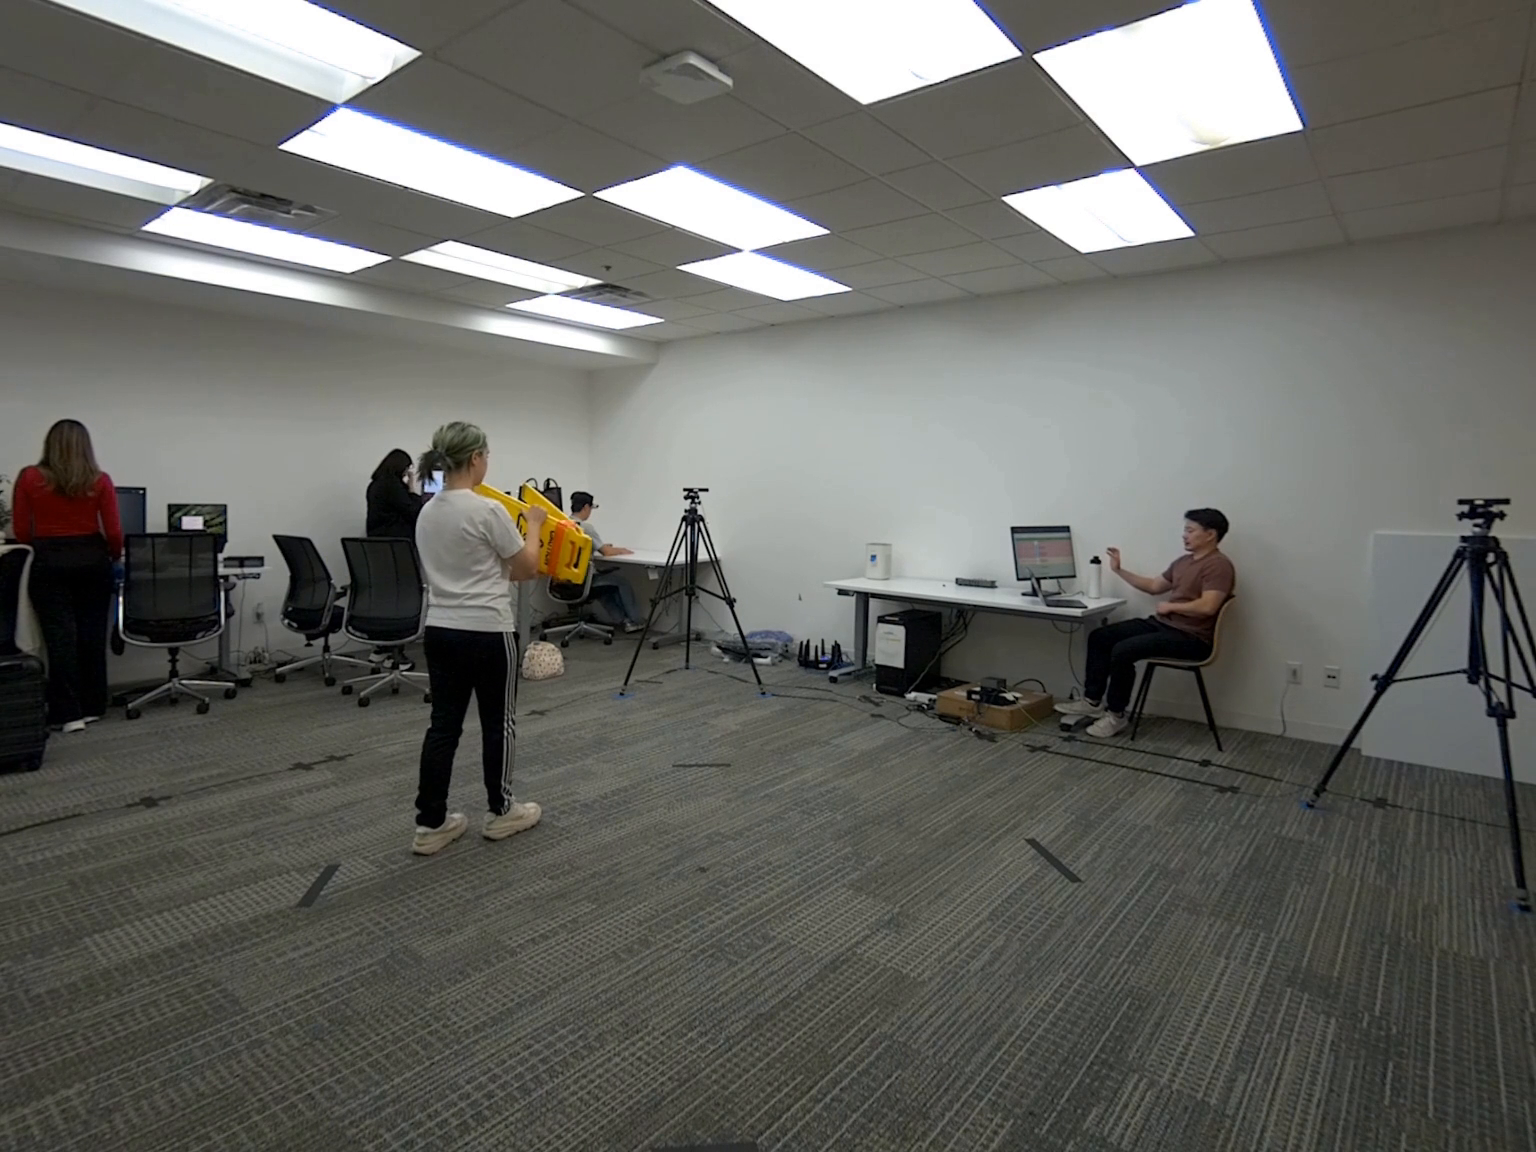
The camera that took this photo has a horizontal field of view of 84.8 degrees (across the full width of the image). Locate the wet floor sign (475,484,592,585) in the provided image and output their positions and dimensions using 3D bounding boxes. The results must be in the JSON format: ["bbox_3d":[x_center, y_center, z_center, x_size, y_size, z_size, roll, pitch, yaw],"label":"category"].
[{"bbox_3d":[-0.986,-0.174,3.593,0.671,0.280,0.281,25,17,35],"label":"wet floor sign"}]
